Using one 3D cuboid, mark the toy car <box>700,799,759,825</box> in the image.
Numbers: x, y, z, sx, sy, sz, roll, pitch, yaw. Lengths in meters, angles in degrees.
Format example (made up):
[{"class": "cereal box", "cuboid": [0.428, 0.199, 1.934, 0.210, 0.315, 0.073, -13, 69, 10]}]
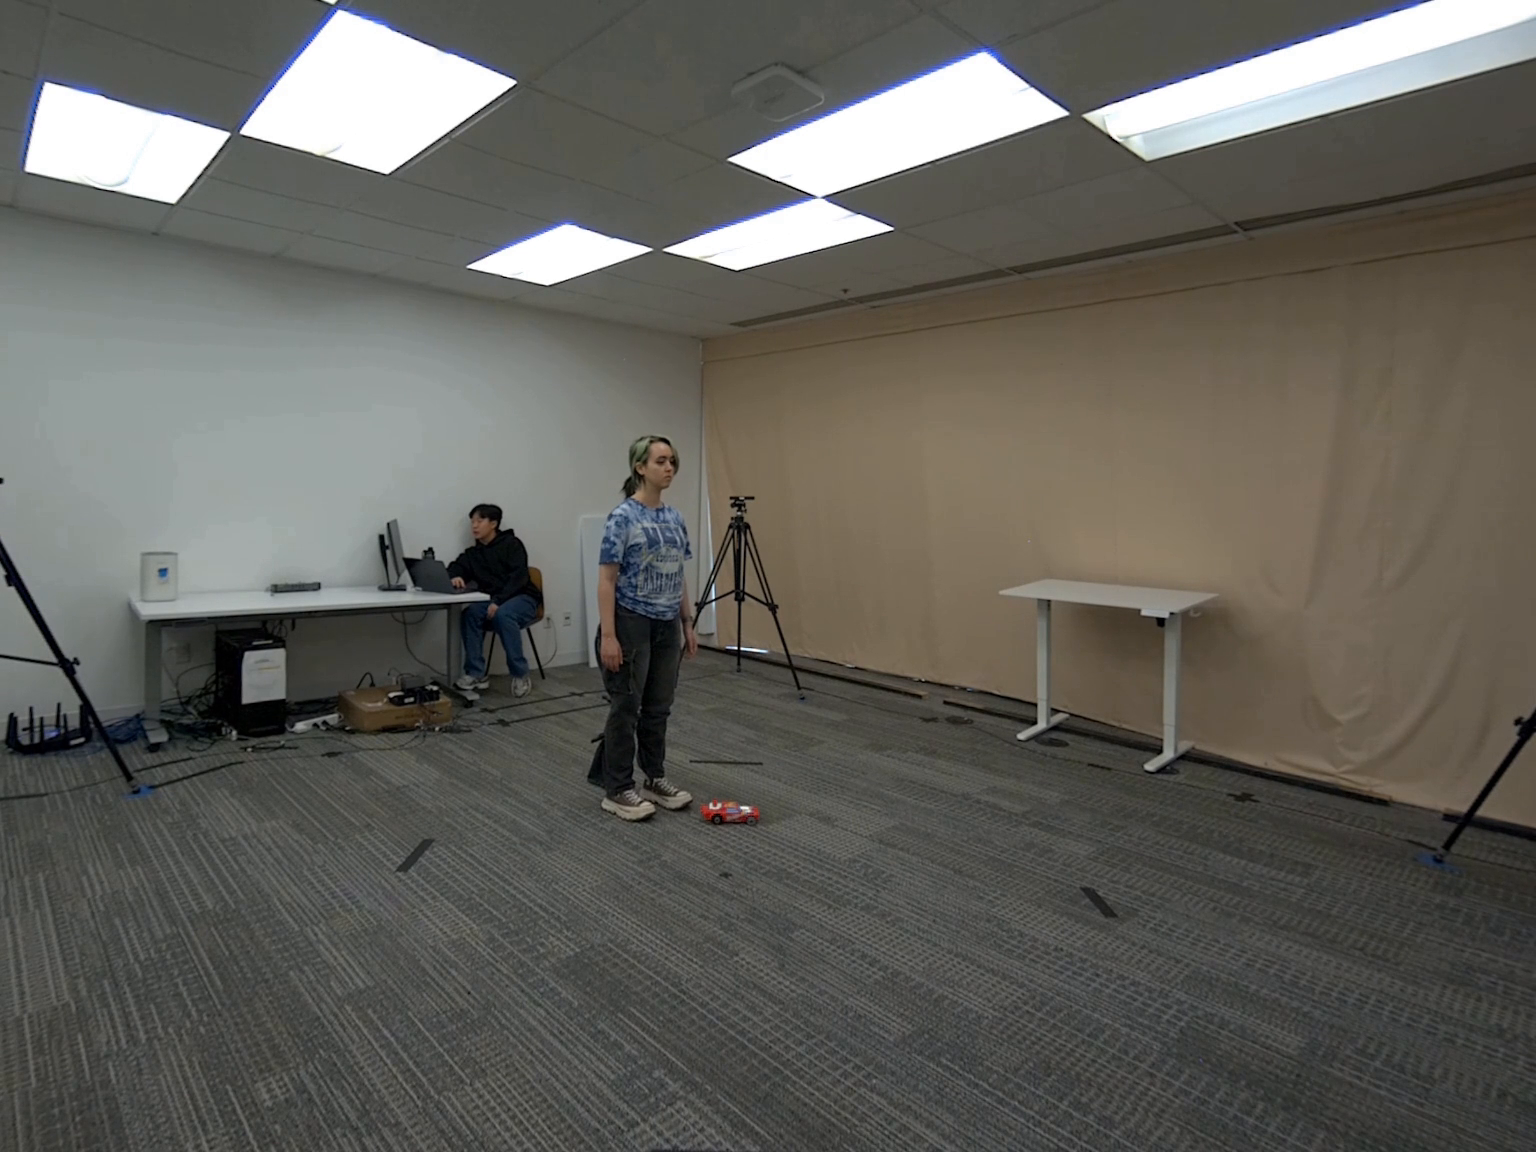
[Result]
[{"class": "toy car", "cuboid": [-0.178, 1.025, 3.636, 0.254, 0.083, 0.131, 12, 5, -3]}]
